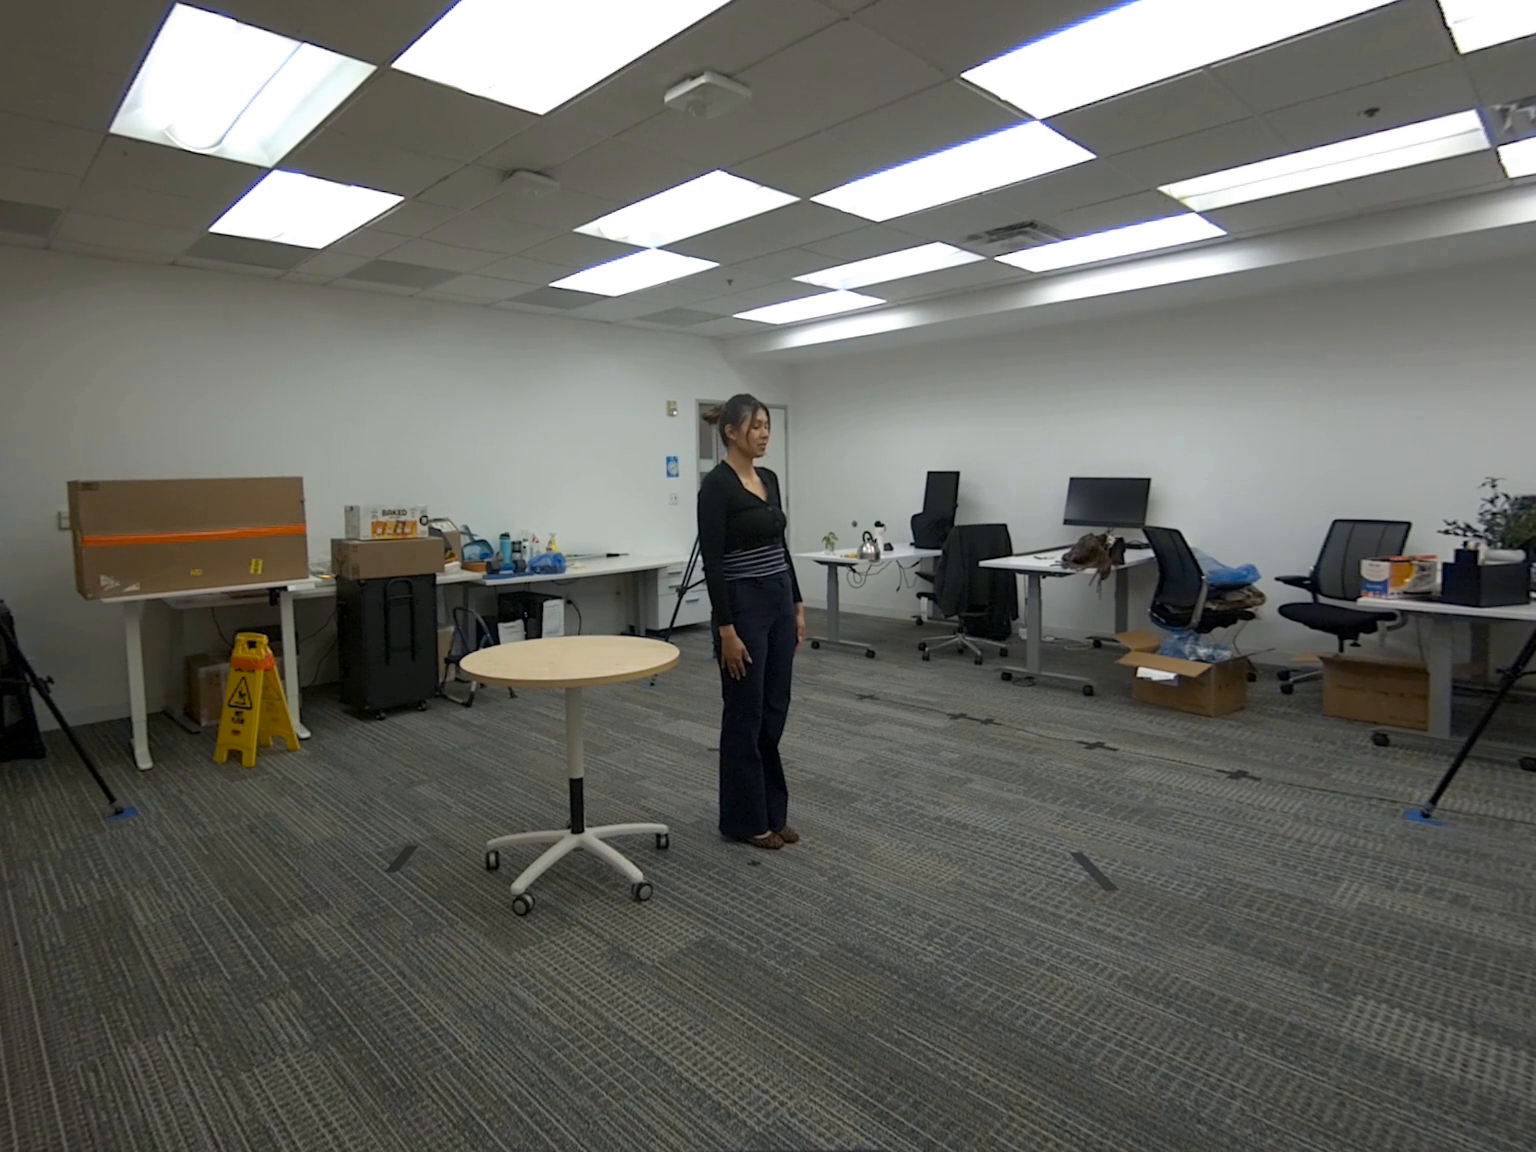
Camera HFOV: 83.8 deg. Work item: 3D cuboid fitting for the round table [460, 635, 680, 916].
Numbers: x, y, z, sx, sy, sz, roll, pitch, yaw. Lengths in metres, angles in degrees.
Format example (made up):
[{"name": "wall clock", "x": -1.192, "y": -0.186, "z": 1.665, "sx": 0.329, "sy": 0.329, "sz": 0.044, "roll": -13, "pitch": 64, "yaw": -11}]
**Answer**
[{"name": "round table", "x": -0.688, "y": 0.672, "z": 3.055, "sx": 0.763, "sy": 0.791, "sz": 0.768, "roll": -2, "pitch": 5, "yaw": -2}]
